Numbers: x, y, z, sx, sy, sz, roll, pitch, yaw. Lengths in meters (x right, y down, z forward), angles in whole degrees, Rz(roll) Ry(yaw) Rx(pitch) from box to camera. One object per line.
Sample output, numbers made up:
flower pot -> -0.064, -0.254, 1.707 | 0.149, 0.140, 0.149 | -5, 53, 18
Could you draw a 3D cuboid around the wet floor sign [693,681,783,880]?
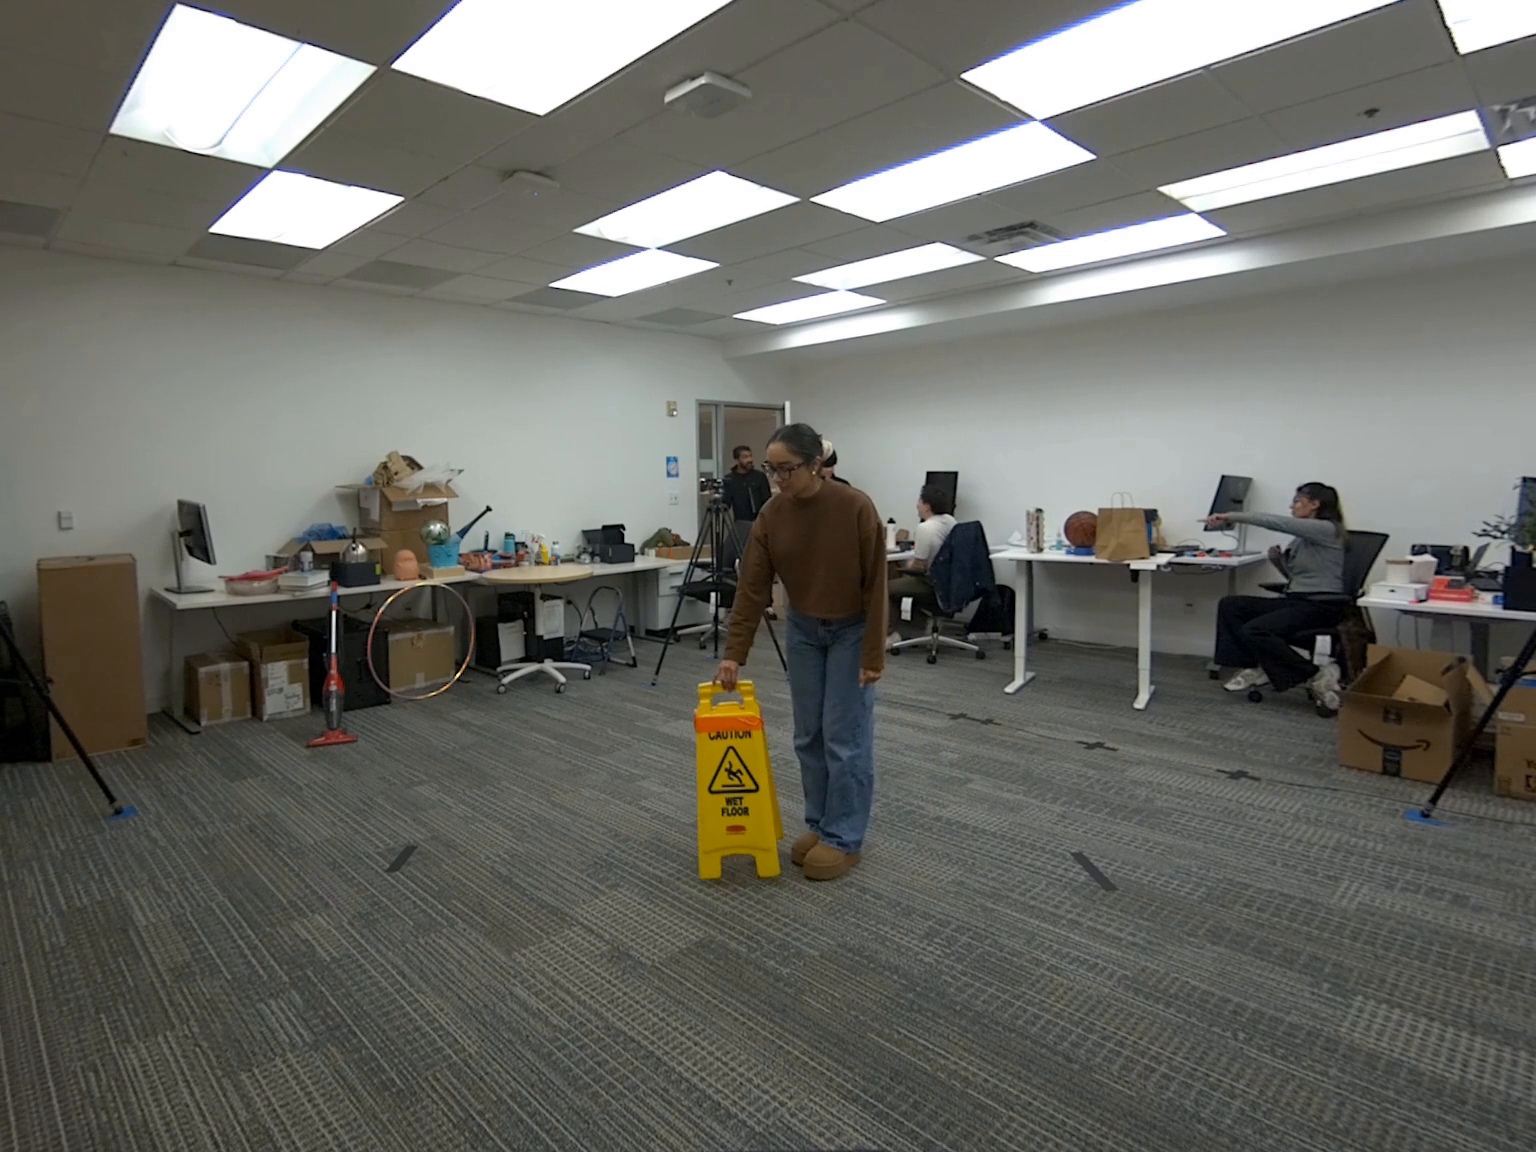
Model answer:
wet floor sign -> -0.116, 0.691, 3.014 | 0.283, 0.642, 0.290 | -5, 7, 4
